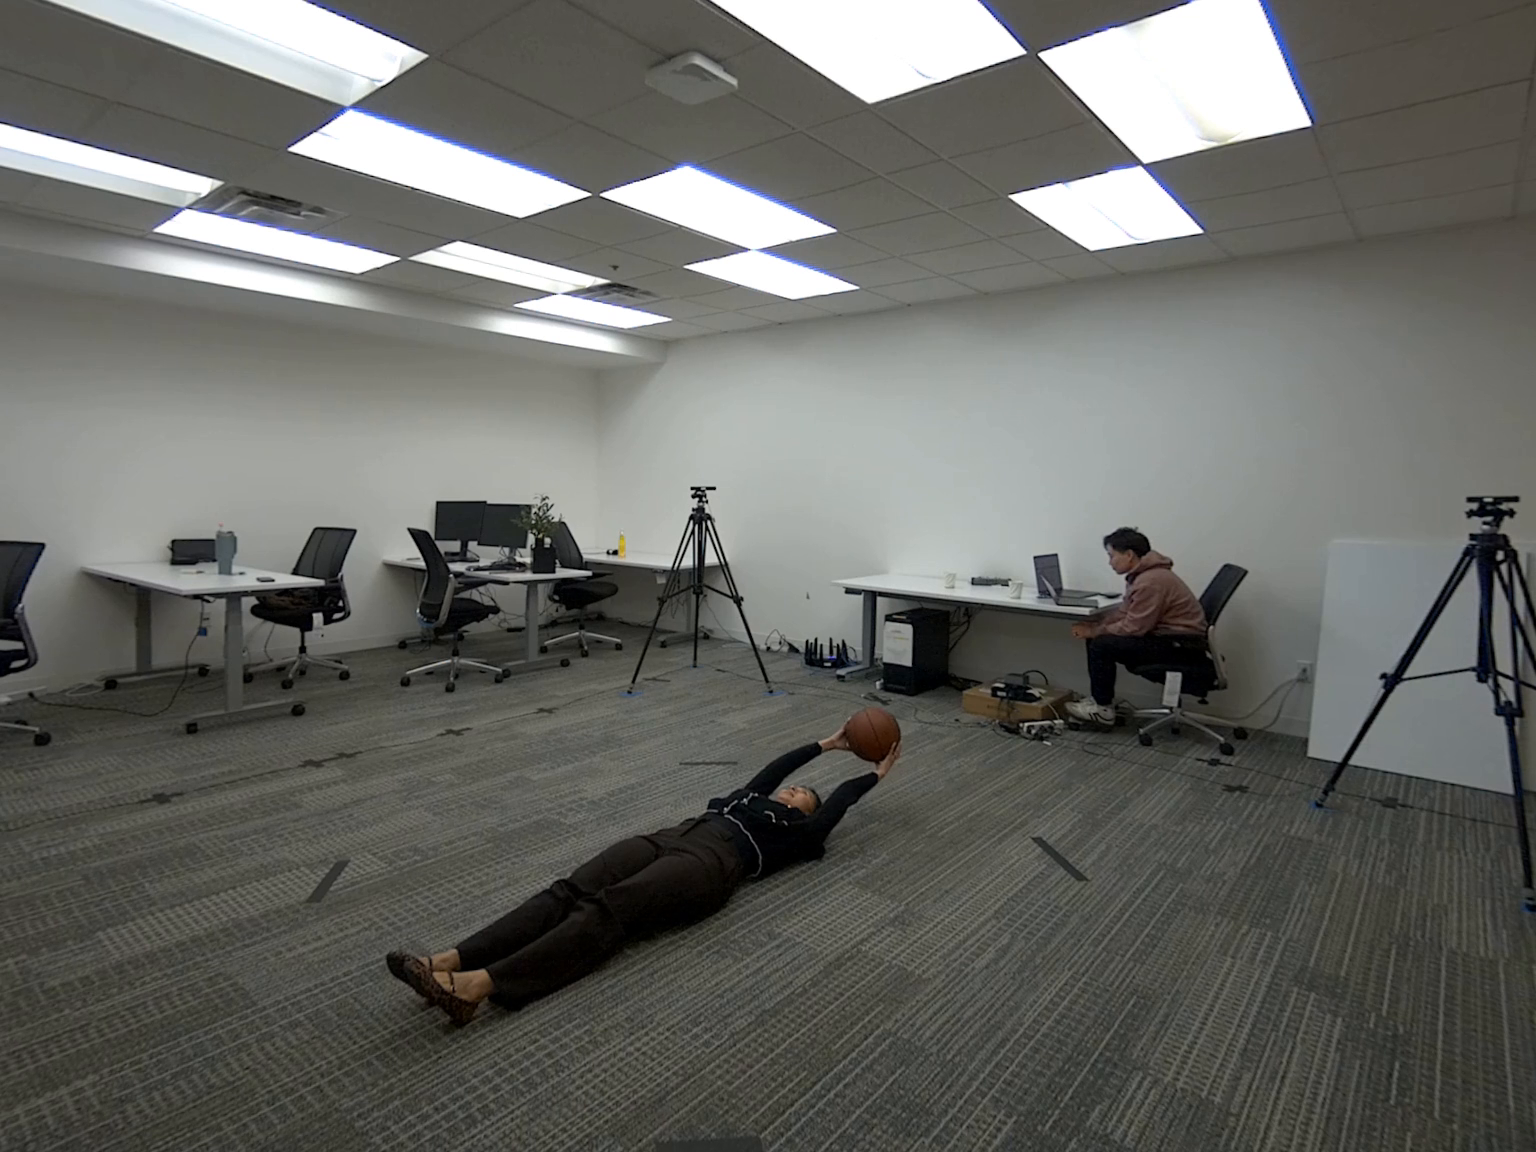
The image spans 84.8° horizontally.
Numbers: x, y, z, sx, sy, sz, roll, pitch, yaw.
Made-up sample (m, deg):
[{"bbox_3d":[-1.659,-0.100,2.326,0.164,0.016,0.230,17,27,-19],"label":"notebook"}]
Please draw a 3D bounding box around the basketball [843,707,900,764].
[{"bbox_3d":[0.448,0.681,3.718,0.236,0.235,0.237,1,4,-2],"label":"basketball"}]
